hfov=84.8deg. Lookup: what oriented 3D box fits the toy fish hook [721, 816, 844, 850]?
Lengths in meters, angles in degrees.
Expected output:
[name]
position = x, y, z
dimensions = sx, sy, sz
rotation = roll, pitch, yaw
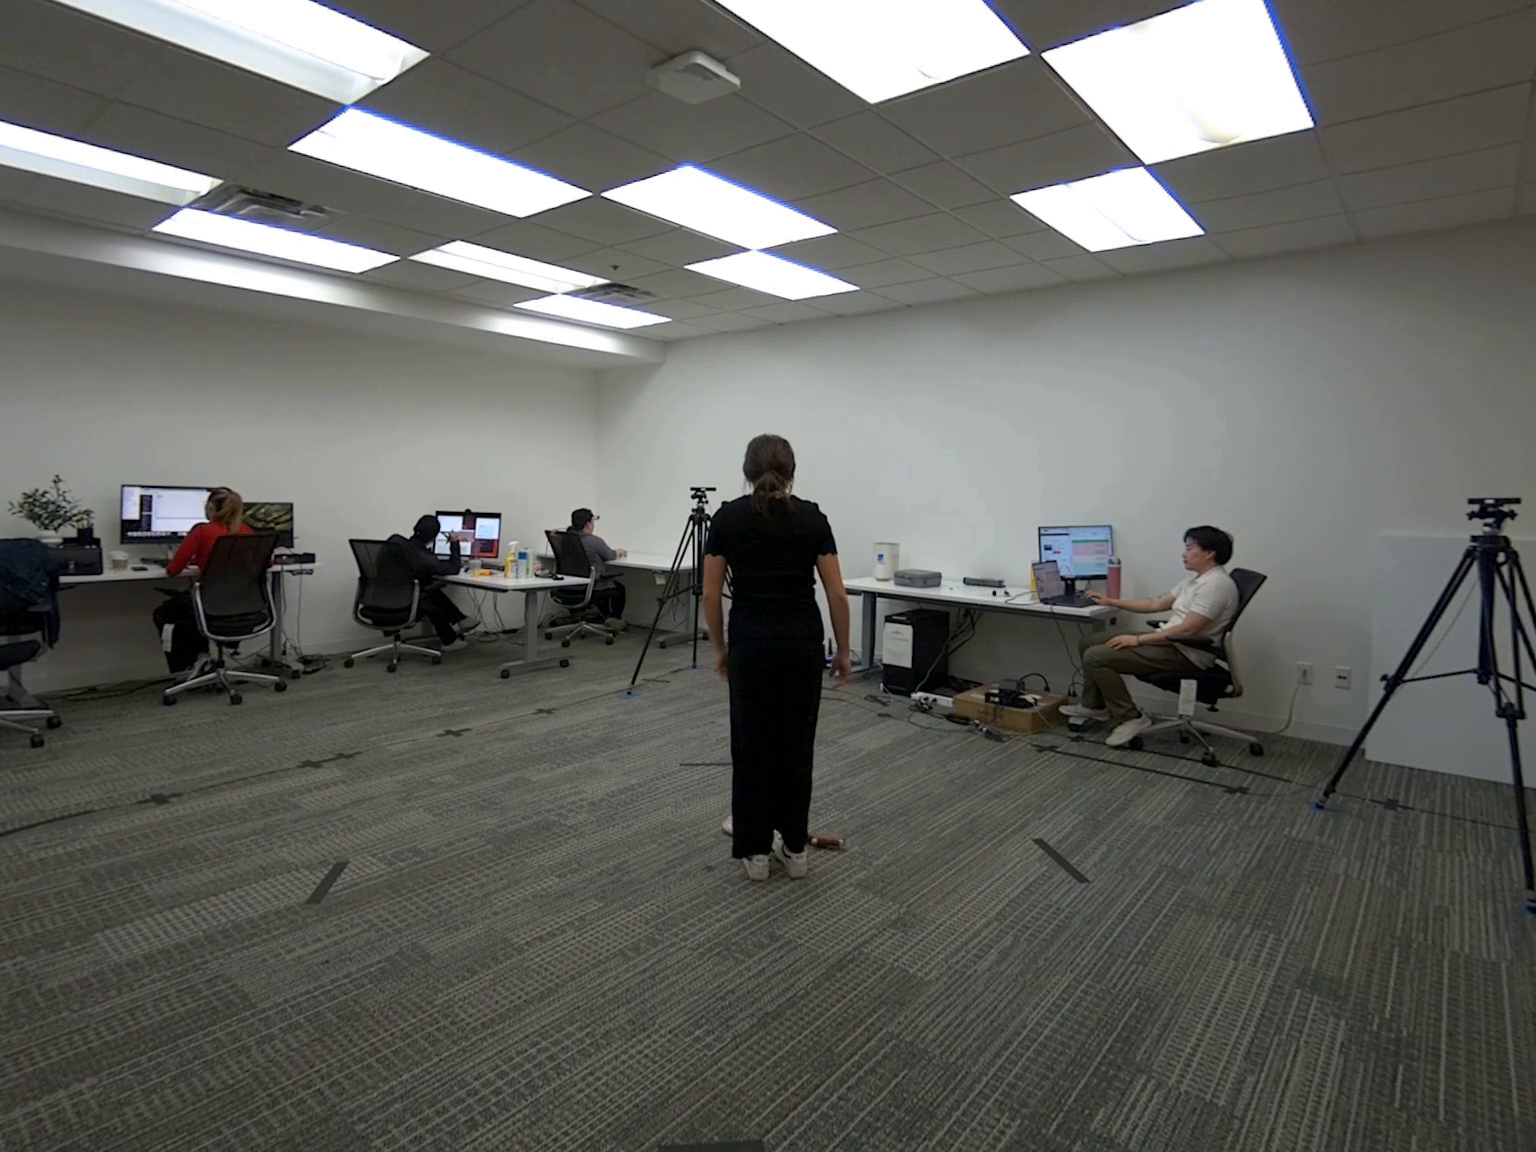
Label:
[toy fish hook]
position = 0.061, 1.016, 3.427
dimensions = 0.517, 0.048, 0.221
rotation = 3, 8, 18
